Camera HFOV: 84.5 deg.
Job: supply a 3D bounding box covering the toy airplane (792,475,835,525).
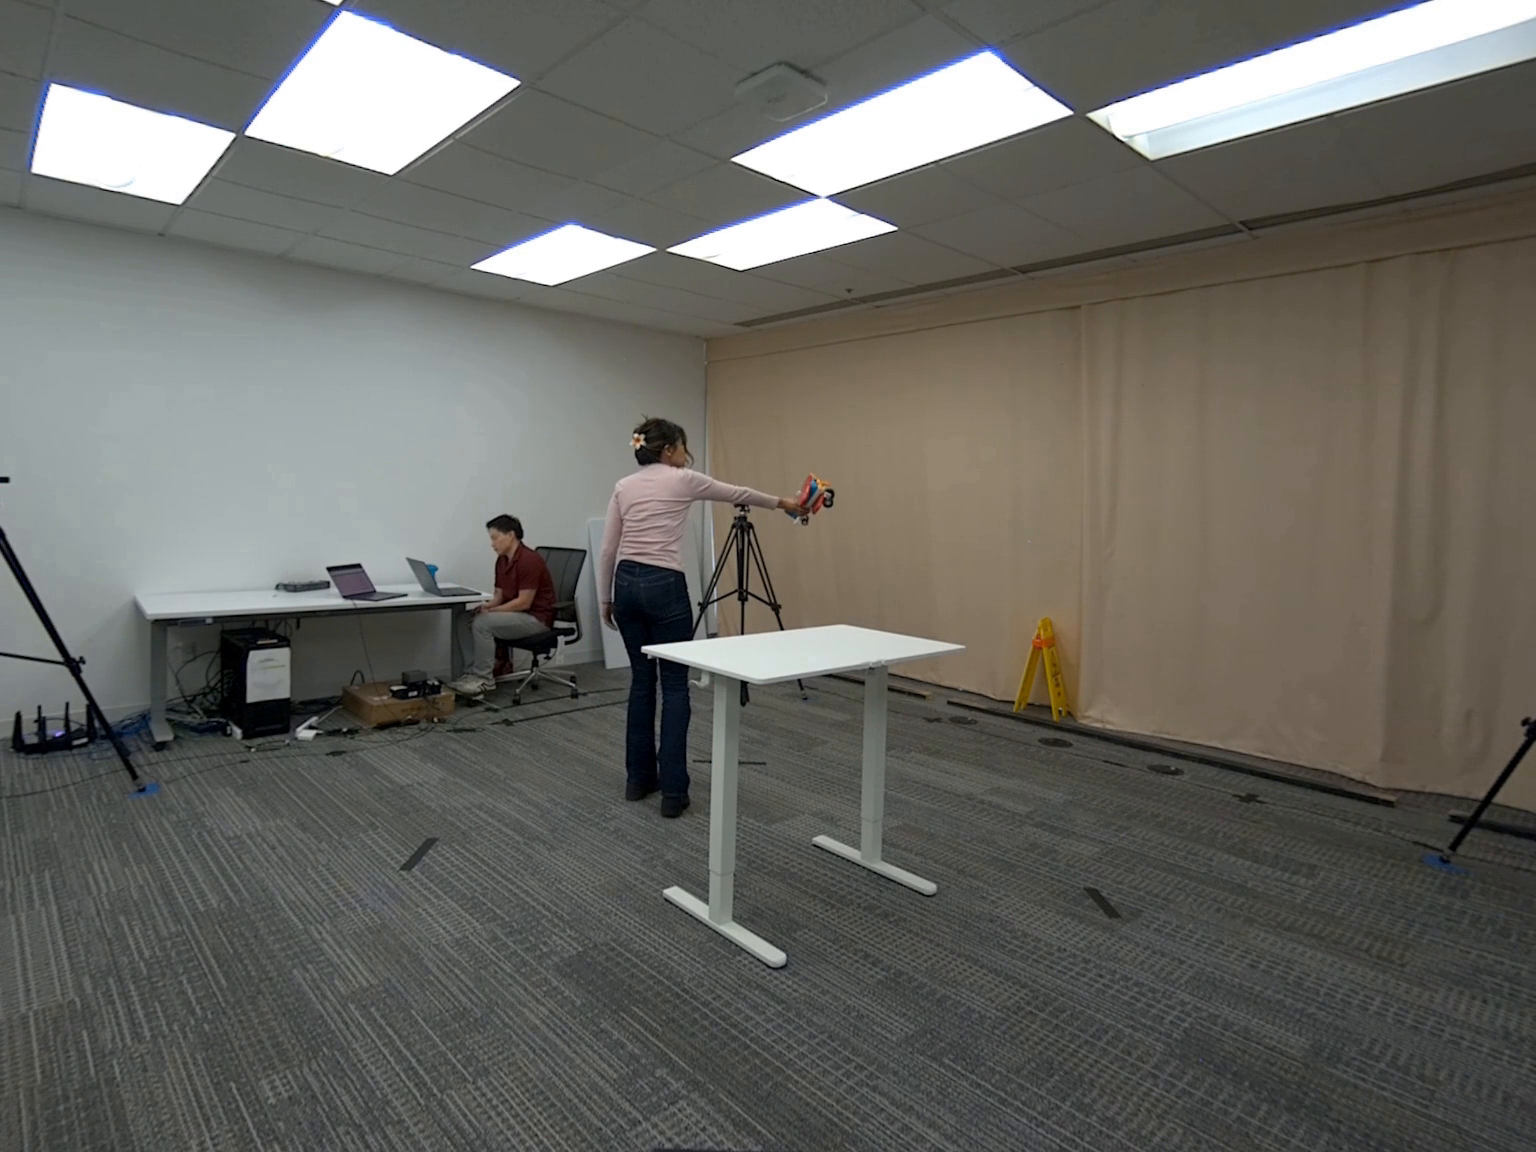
[{"bbox_3d":[0.193,-0.361,4.175,0.154,0.259,0.255,41,3,-16],"label":"toy airplane"}]
